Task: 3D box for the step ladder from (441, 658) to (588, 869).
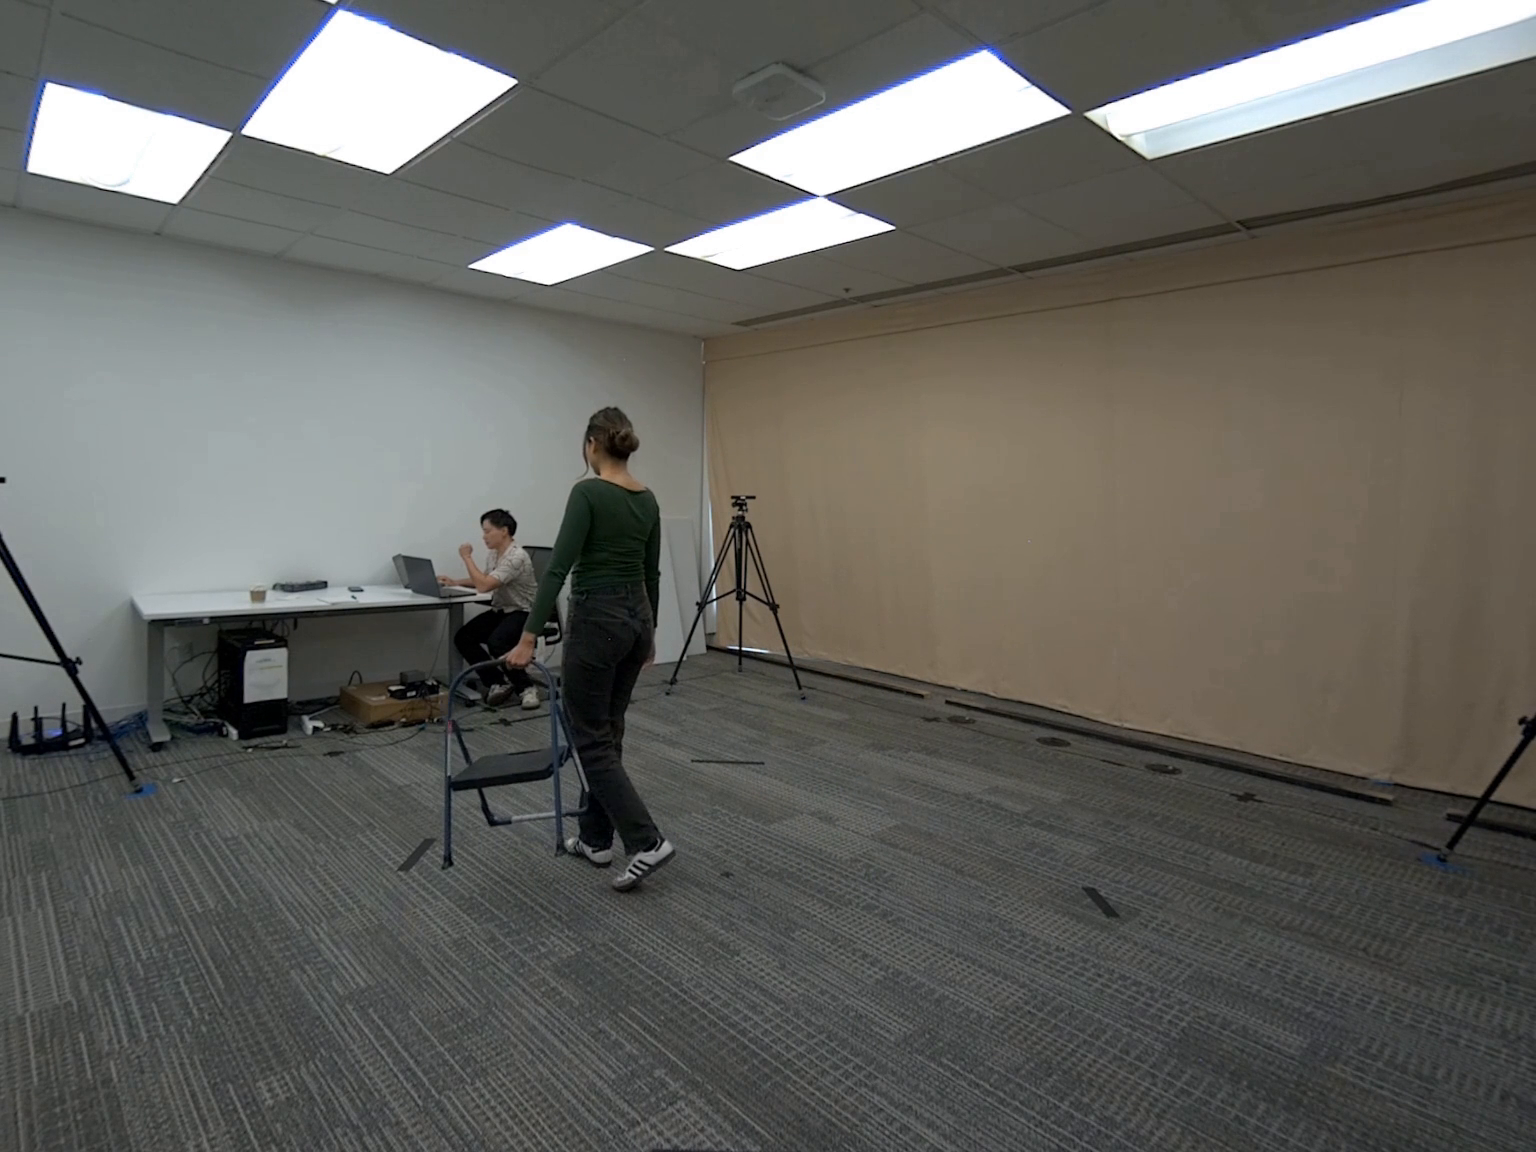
[{"bbox_3d":[-0.890,0.603,2.826,0.433,0.604,0.348,-9,4,9],"label":"step ladder"}]
